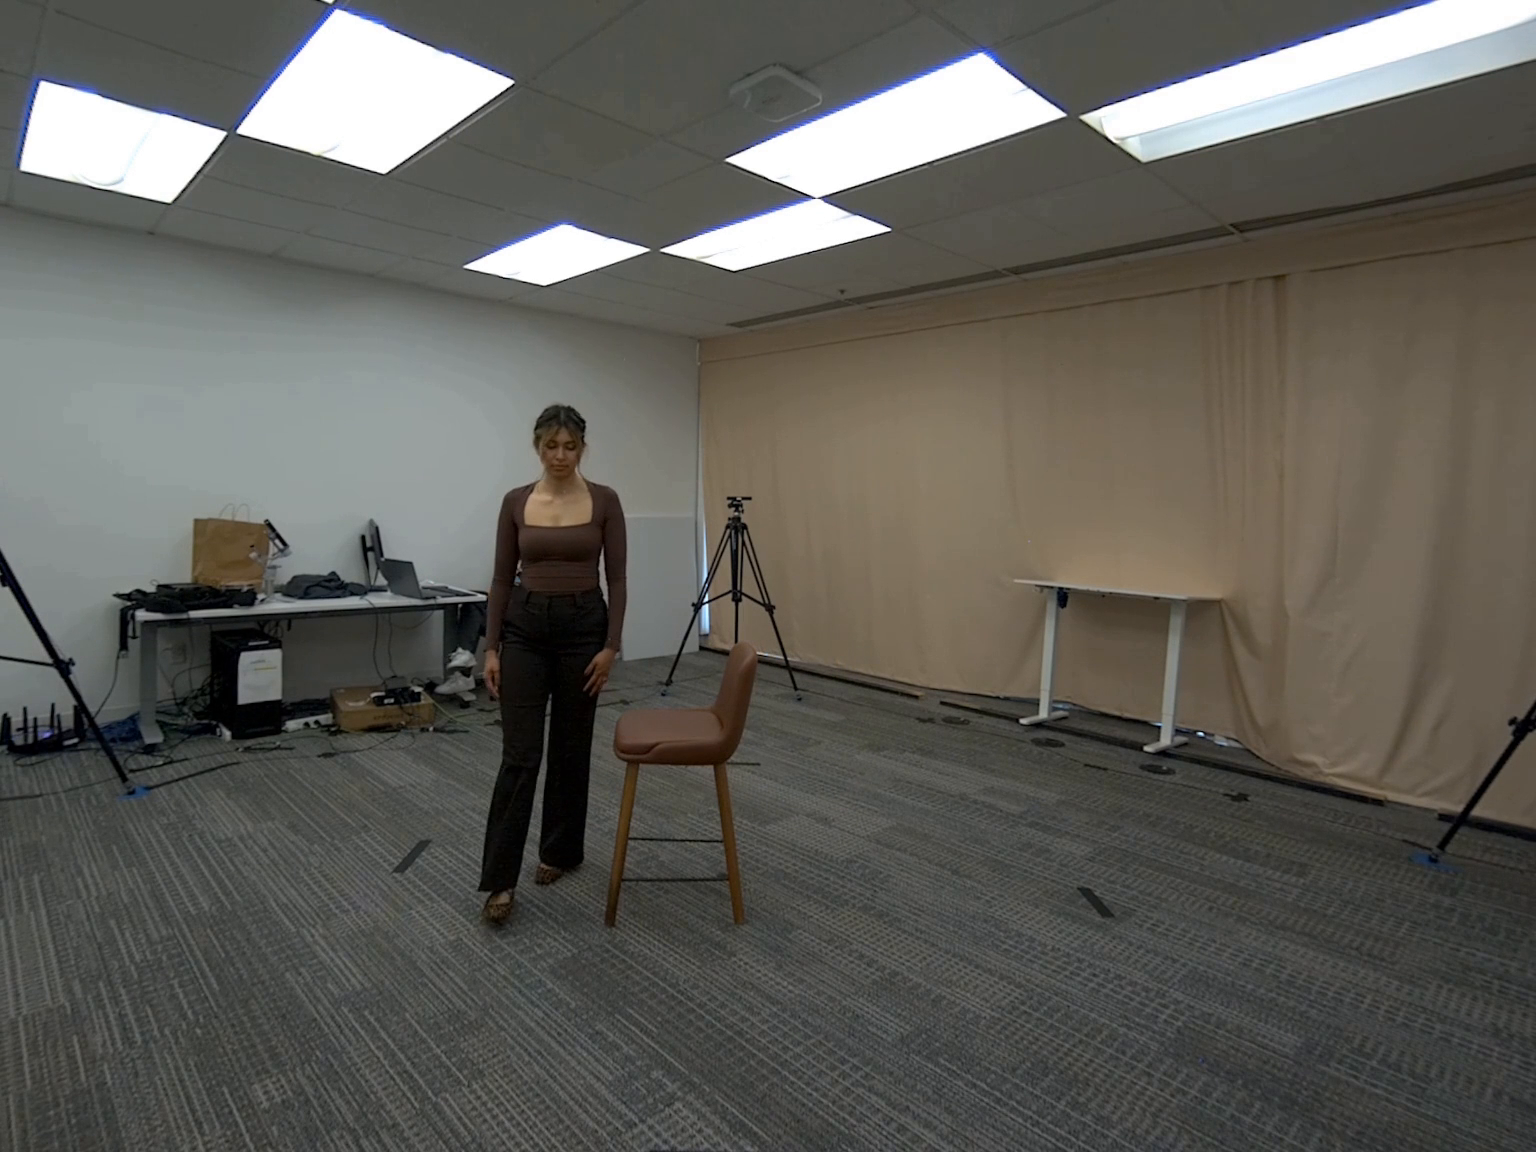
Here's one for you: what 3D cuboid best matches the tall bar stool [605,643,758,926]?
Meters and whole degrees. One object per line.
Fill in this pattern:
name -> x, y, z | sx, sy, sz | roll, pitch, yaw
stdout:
tall bar stool -> -0.309, 0.689, 2.895 | 0.466, 0.888, 0.459 | 2, 3, -5
